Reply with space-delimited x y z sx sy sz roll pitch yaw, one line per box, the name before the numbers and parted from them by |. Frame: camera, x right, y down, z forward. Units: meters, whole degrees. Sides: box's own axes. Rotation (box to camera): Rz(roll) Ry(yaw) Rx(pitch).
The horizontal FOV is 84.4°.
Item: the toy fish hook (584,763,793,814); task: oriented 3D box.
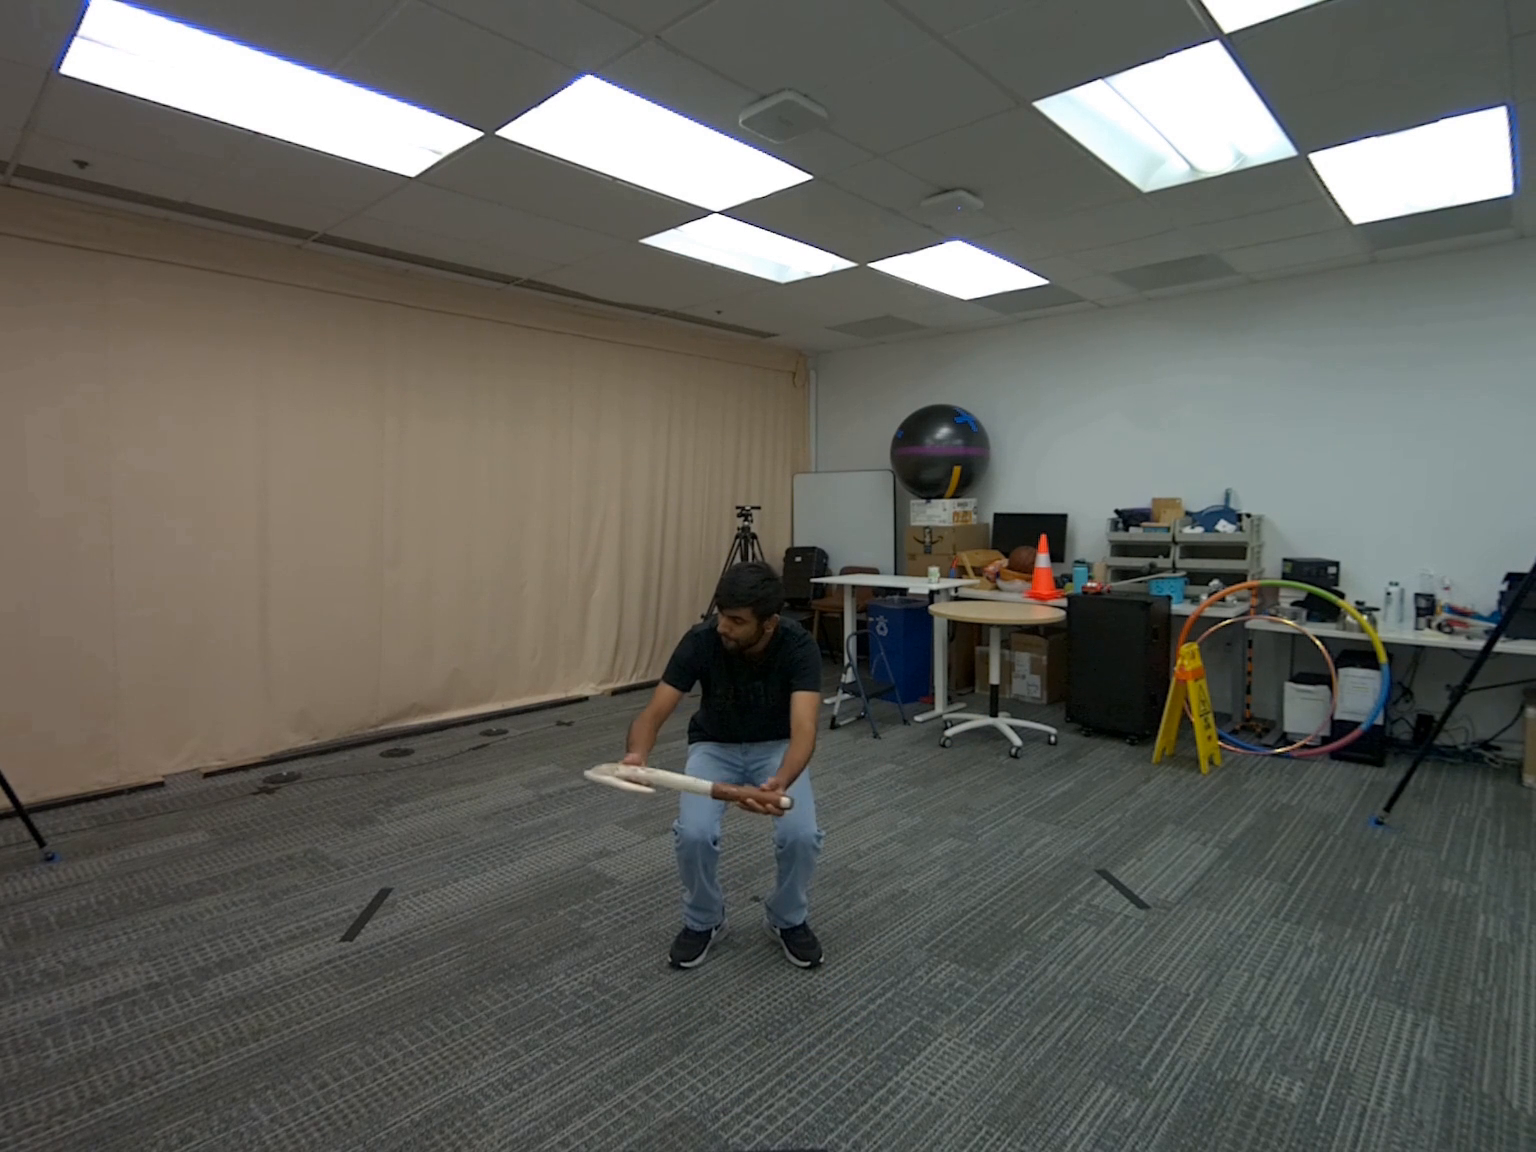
toy fish hook | -0.170 0.509 2.044 0.515 0.048 0.221 5 -1 15
